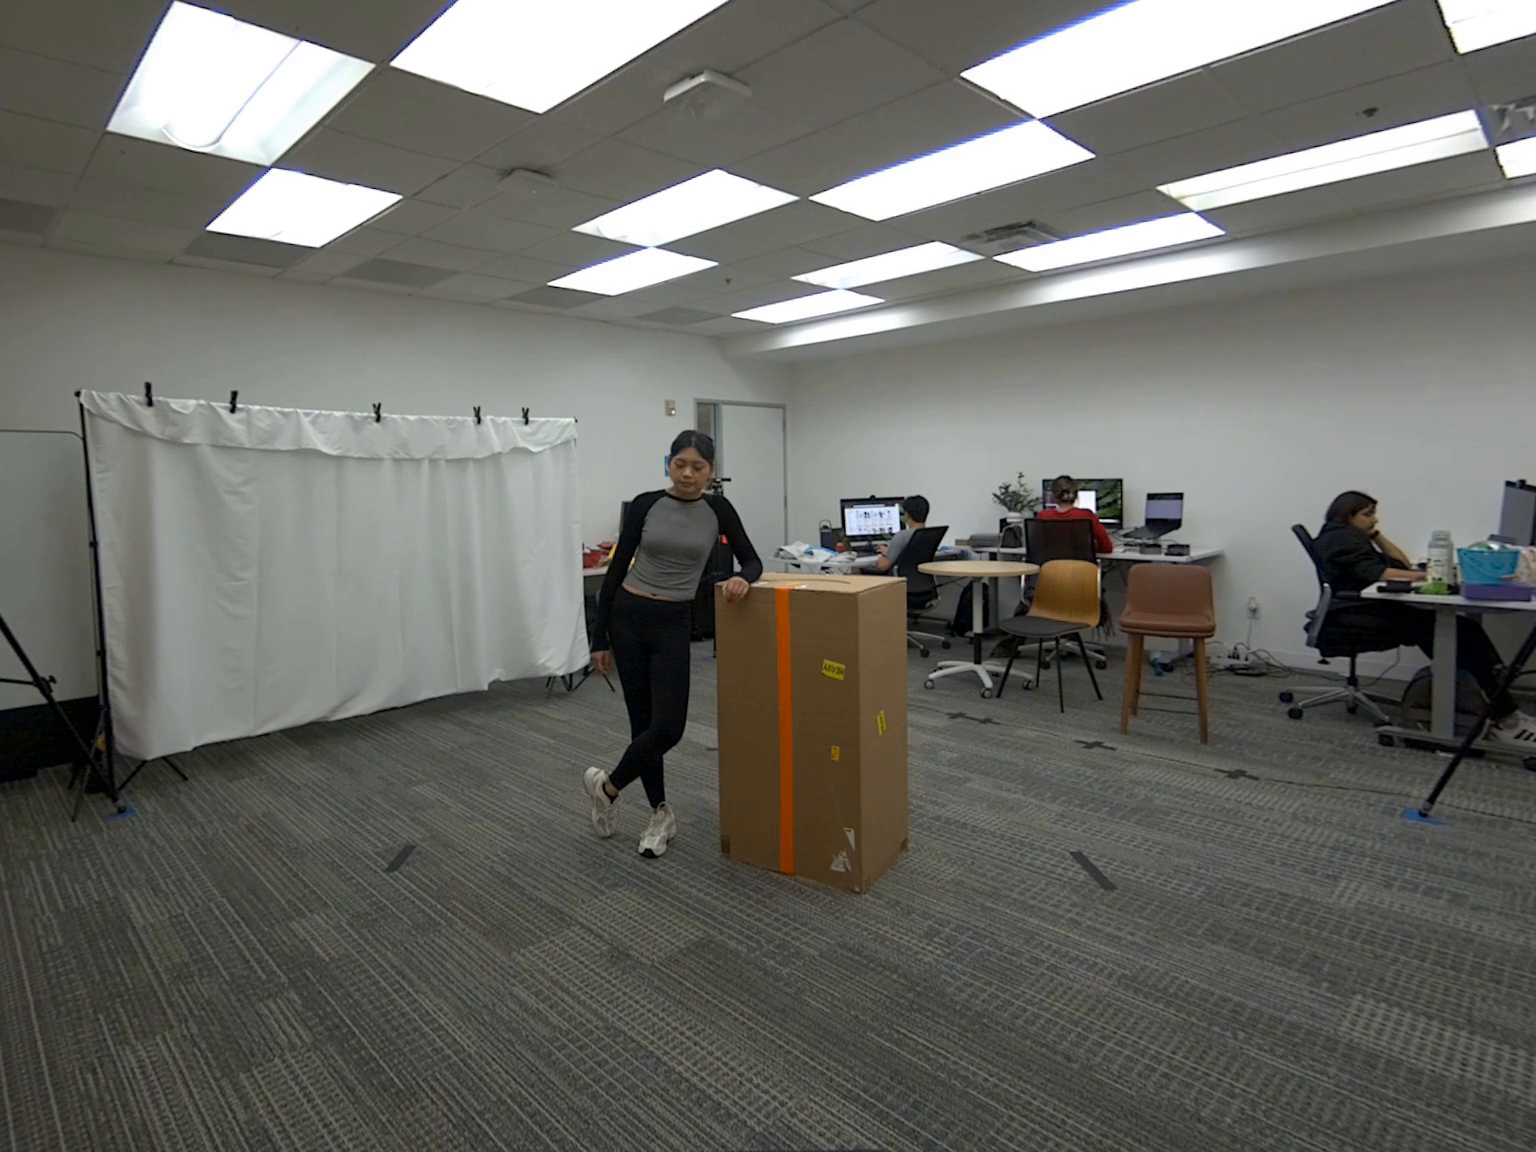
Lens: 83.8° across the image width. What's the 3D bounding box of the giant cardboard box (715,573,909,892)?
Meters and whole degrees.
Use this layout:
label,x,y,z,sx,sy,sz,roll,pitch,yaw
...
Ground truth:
label,x,y,z,sx,sy,sz,roll,pitch,yaw
giant cardboard box,0.170,0.524,3.151,0.593,1.022,0.416,1,4,33
